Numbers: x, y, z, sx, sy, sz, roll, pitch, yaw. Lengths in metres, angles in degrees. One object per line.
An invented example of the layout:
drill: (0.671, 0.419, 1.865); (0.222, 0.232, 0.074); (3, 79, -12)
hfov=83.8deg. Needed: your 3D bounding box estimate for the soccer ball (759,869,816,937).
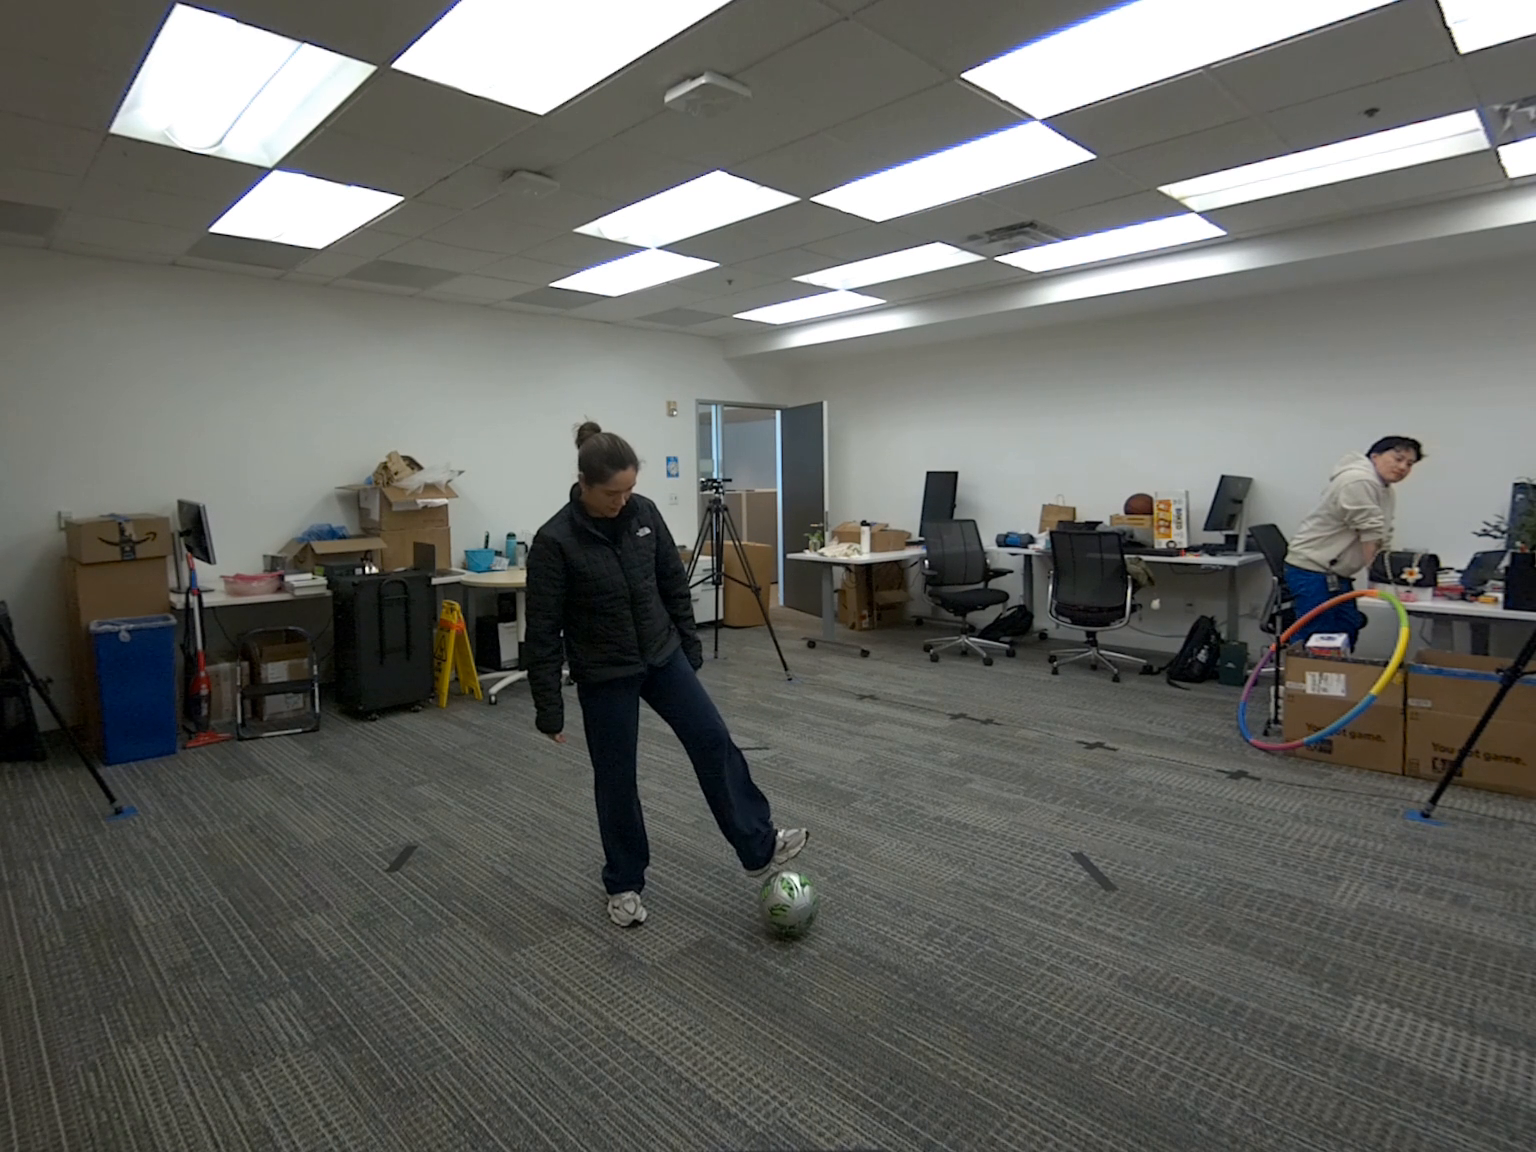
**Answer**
soccer ball: (0.065, 1.003, 2.624); (0.187, 0.187, 0.188); (-1, 5, -2)
